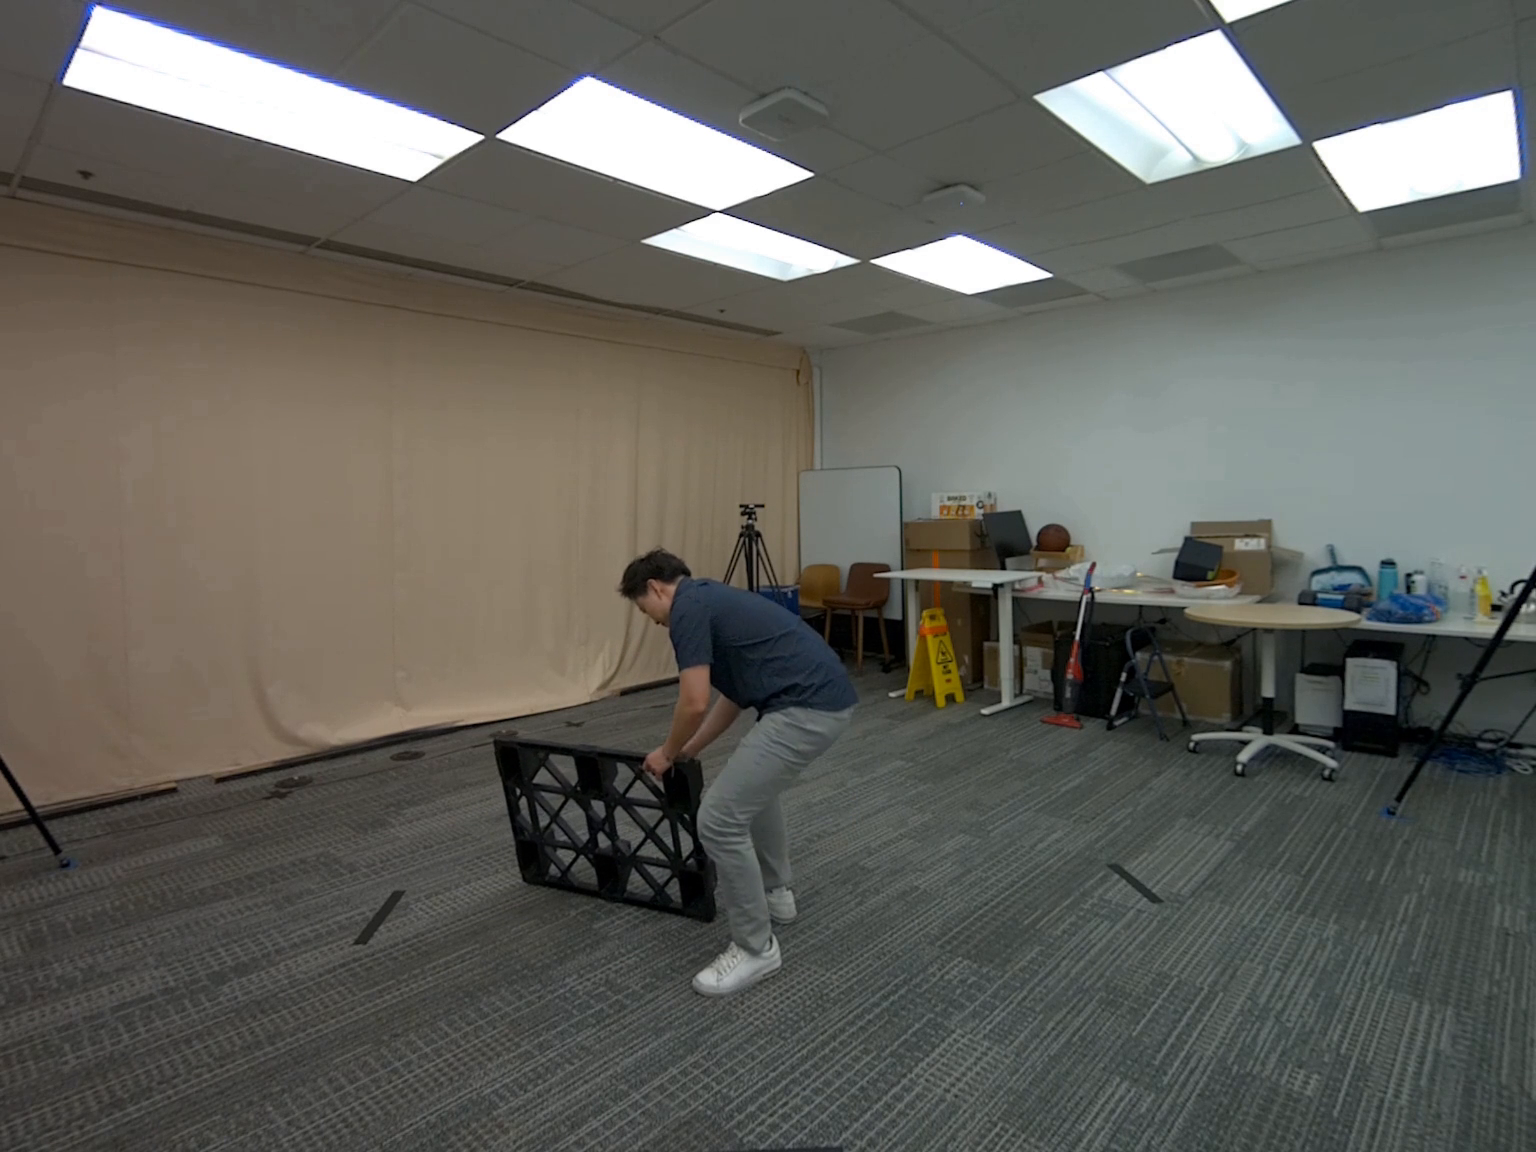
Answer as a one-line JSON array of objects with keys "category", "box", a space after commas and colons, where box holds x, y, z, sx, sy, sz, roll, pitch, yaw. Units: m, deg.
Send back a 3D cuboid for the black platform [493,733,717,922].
[{"category": "black platform", "box": [-0.569, 0.845, 2.951, 0.826, 0.598, 0.141, 0, 17, 25]}]
